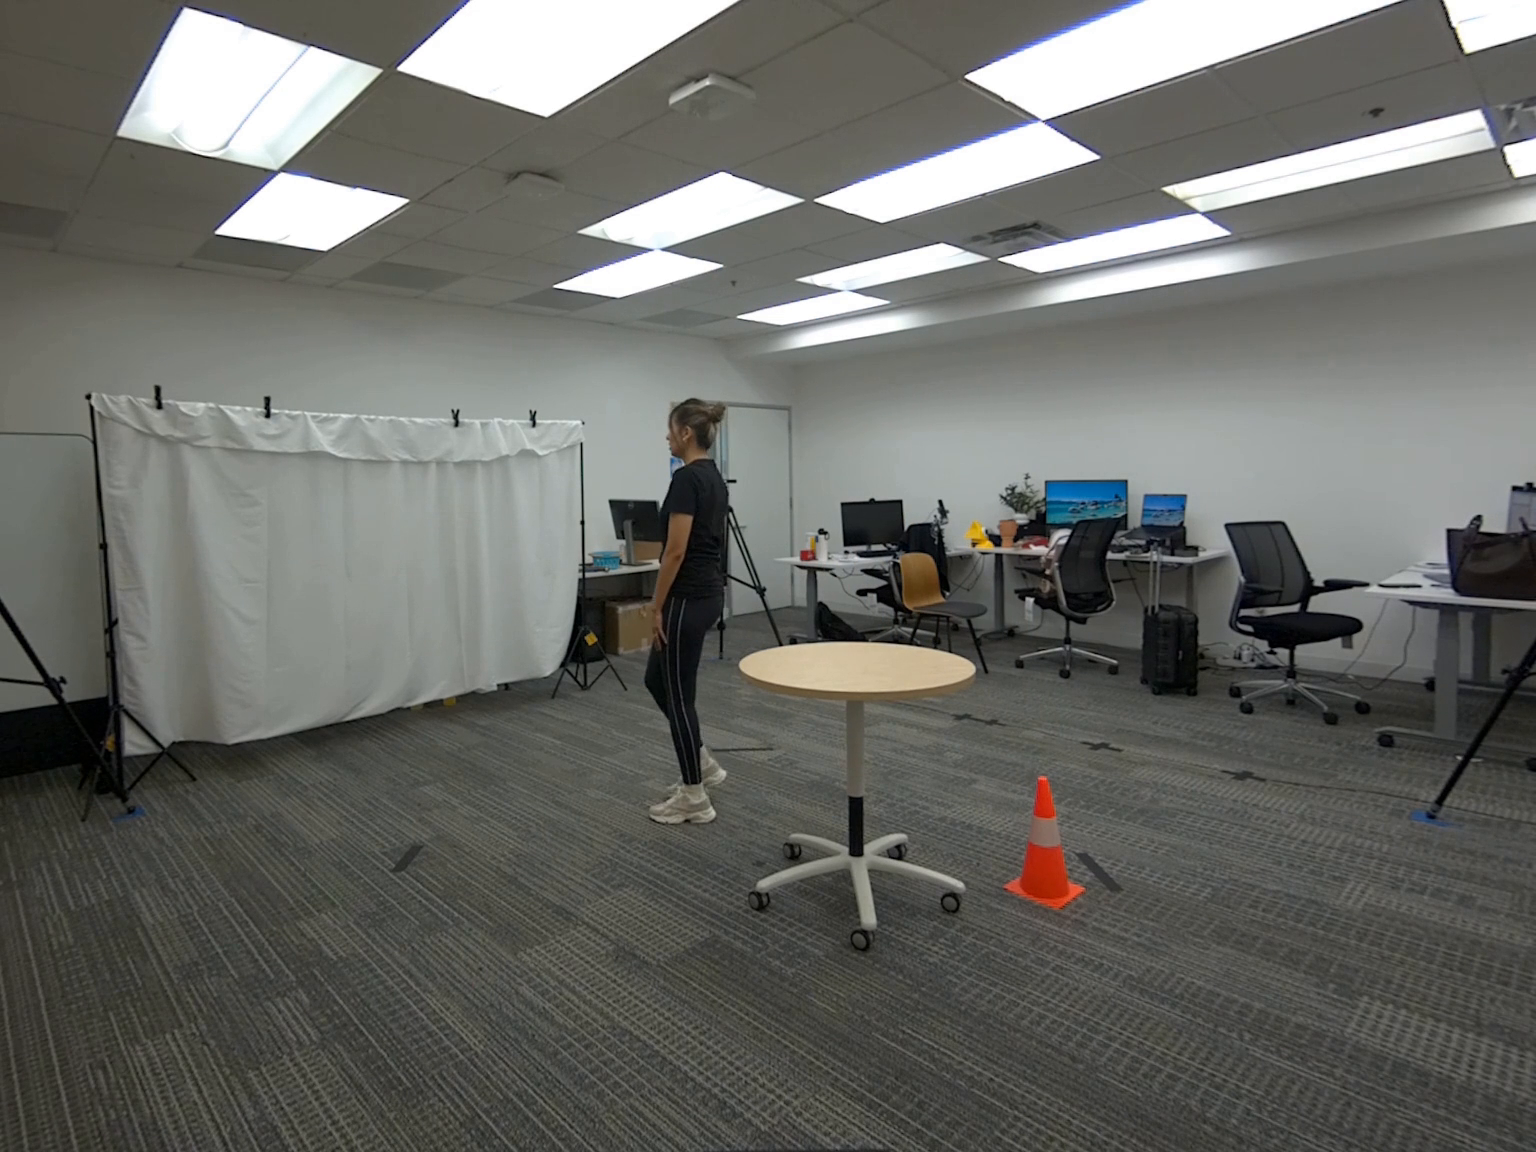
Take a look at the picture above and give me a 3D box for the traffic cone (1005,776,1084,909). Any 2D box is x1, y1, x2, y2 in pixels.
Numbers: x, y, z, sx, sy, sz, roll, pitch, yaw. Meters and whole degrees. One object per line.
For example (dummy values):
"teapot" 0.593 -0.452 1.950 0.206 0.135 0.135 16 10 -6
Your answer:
"traffic cone" 0.941 0.873 2.870 0.200 0.382 0.209 -3 5 -34
